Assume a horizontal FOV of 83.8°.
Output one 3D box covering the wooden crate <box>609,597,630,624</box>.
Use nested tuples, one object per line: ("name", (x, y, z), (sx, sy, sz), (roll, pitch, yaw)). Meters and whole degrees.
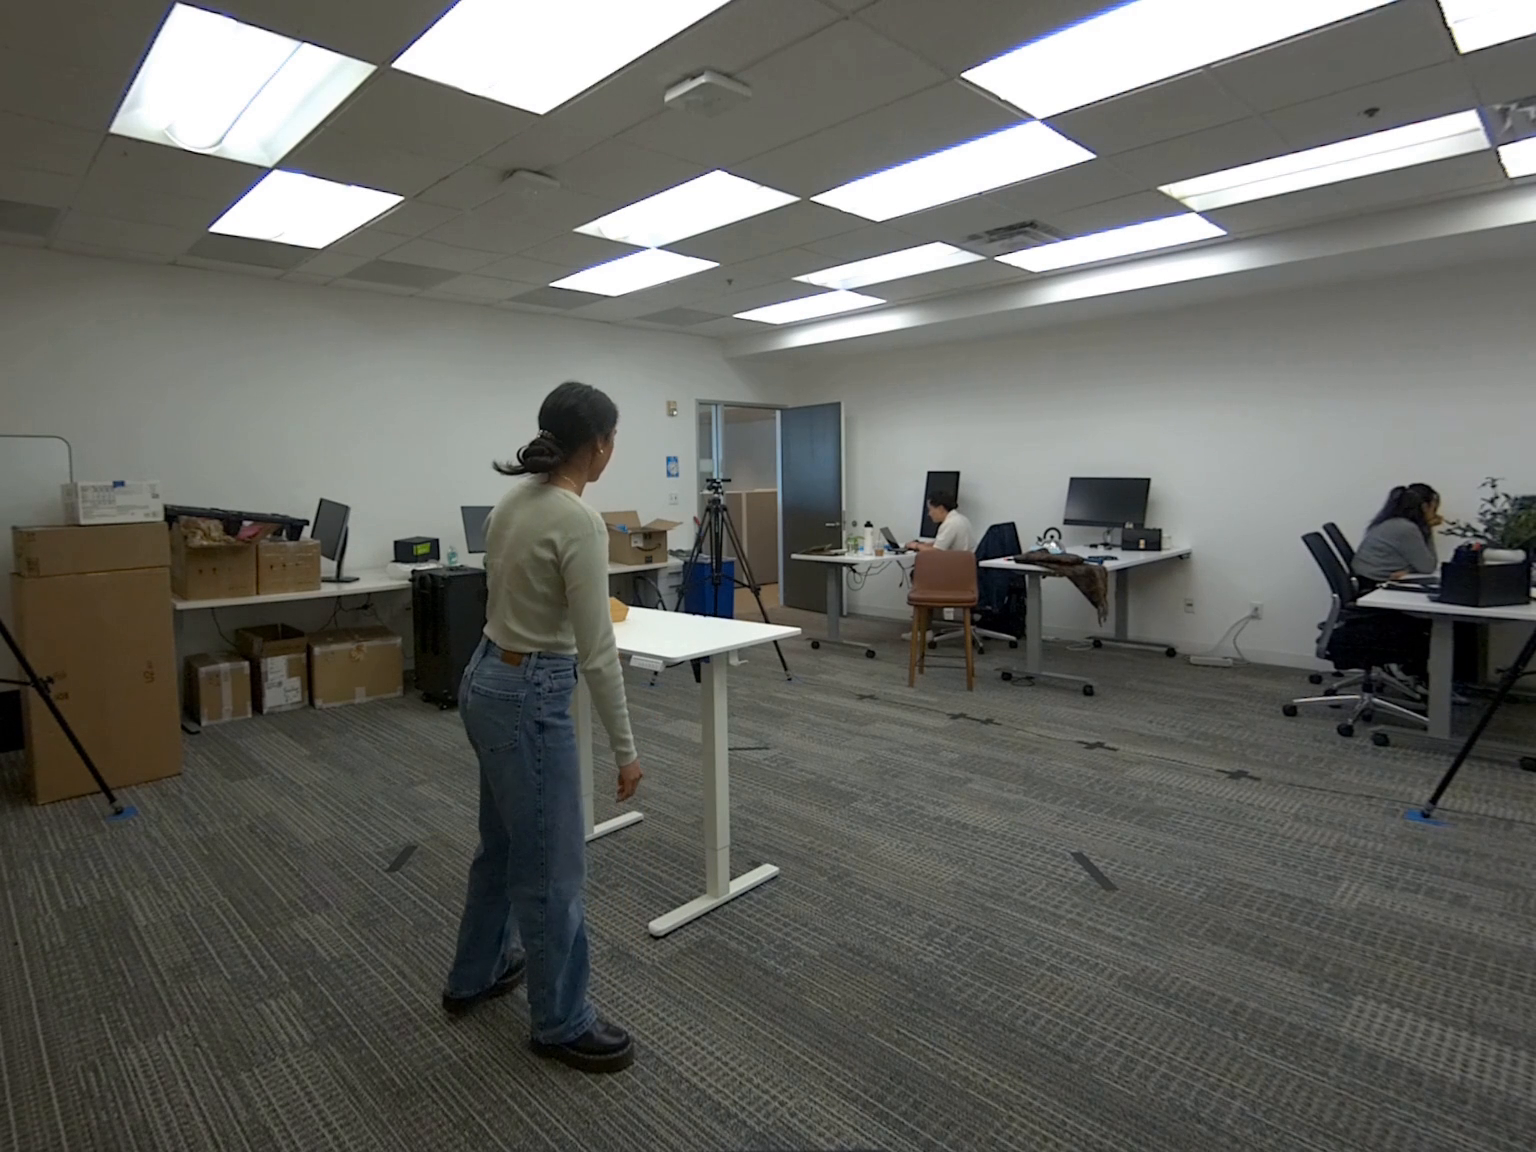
("wooden crate", (-0.722, 0.034, 3.186), (0.294, 0.272, 0.334), (-6, 6, -37))
